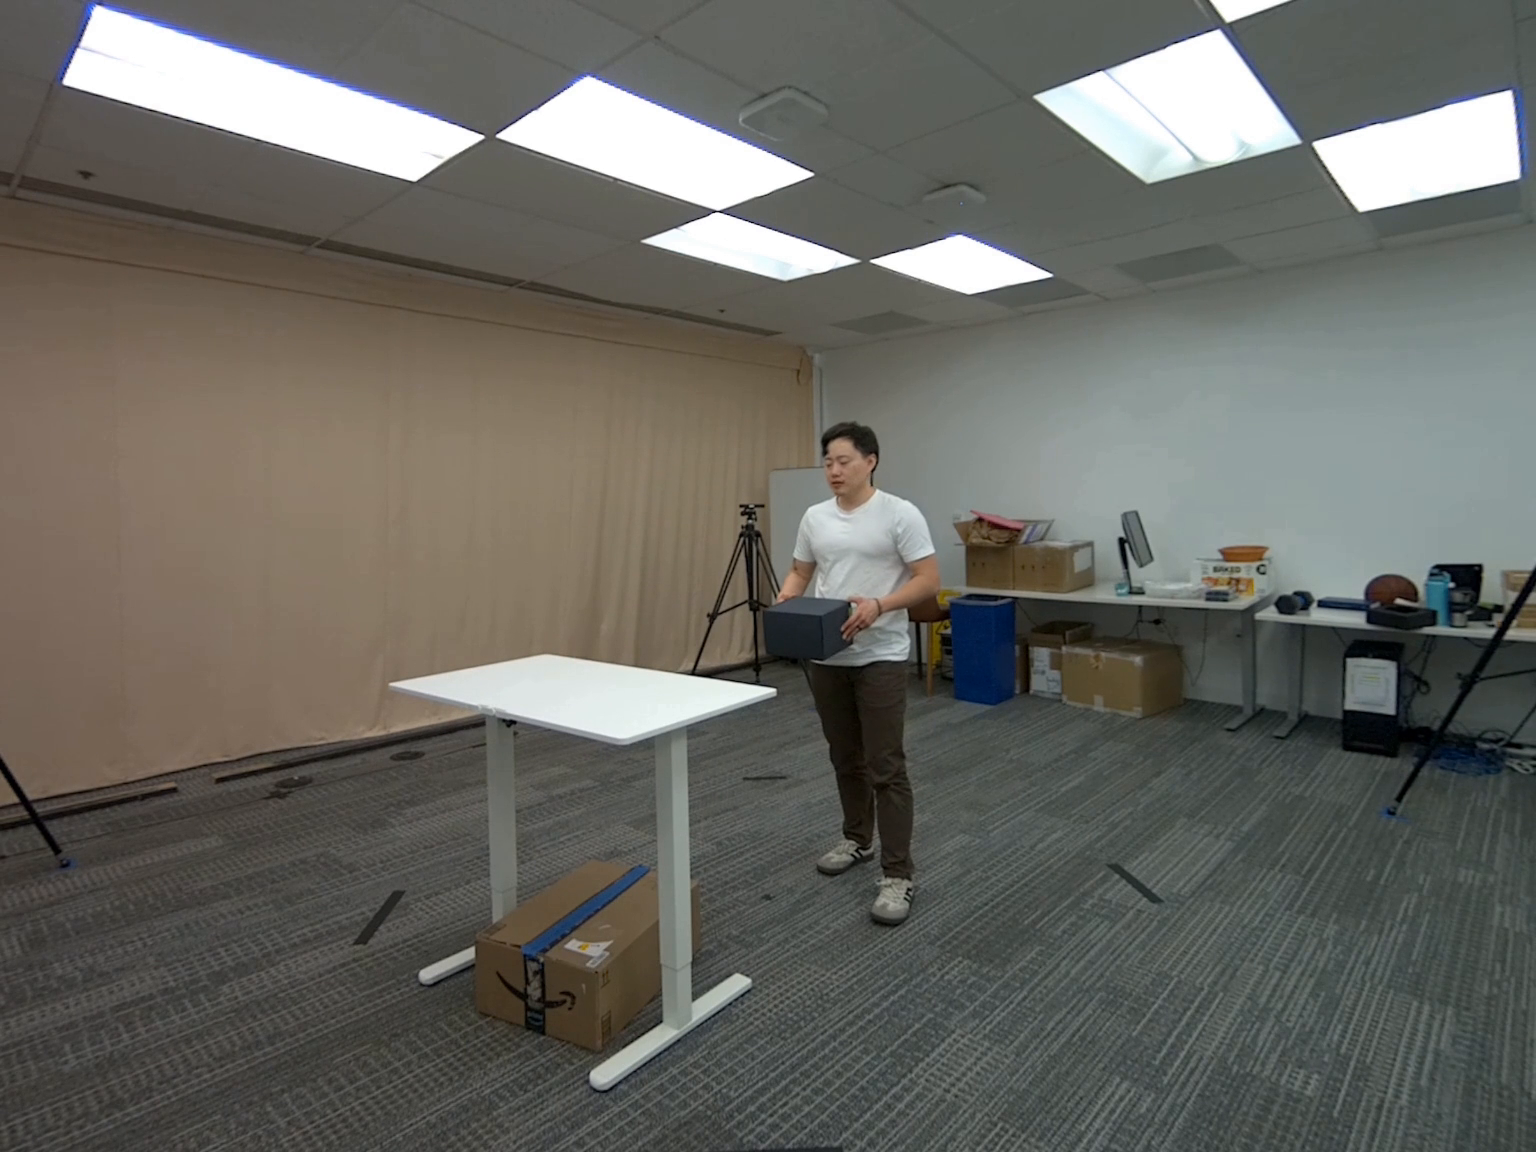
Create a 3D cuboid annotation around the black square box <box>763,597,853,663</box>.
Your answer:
[{"bbox_3d":[0.140,0.177,2.847,0.235,0.155,0.212,3,12,32],"label":"black square box"}]
